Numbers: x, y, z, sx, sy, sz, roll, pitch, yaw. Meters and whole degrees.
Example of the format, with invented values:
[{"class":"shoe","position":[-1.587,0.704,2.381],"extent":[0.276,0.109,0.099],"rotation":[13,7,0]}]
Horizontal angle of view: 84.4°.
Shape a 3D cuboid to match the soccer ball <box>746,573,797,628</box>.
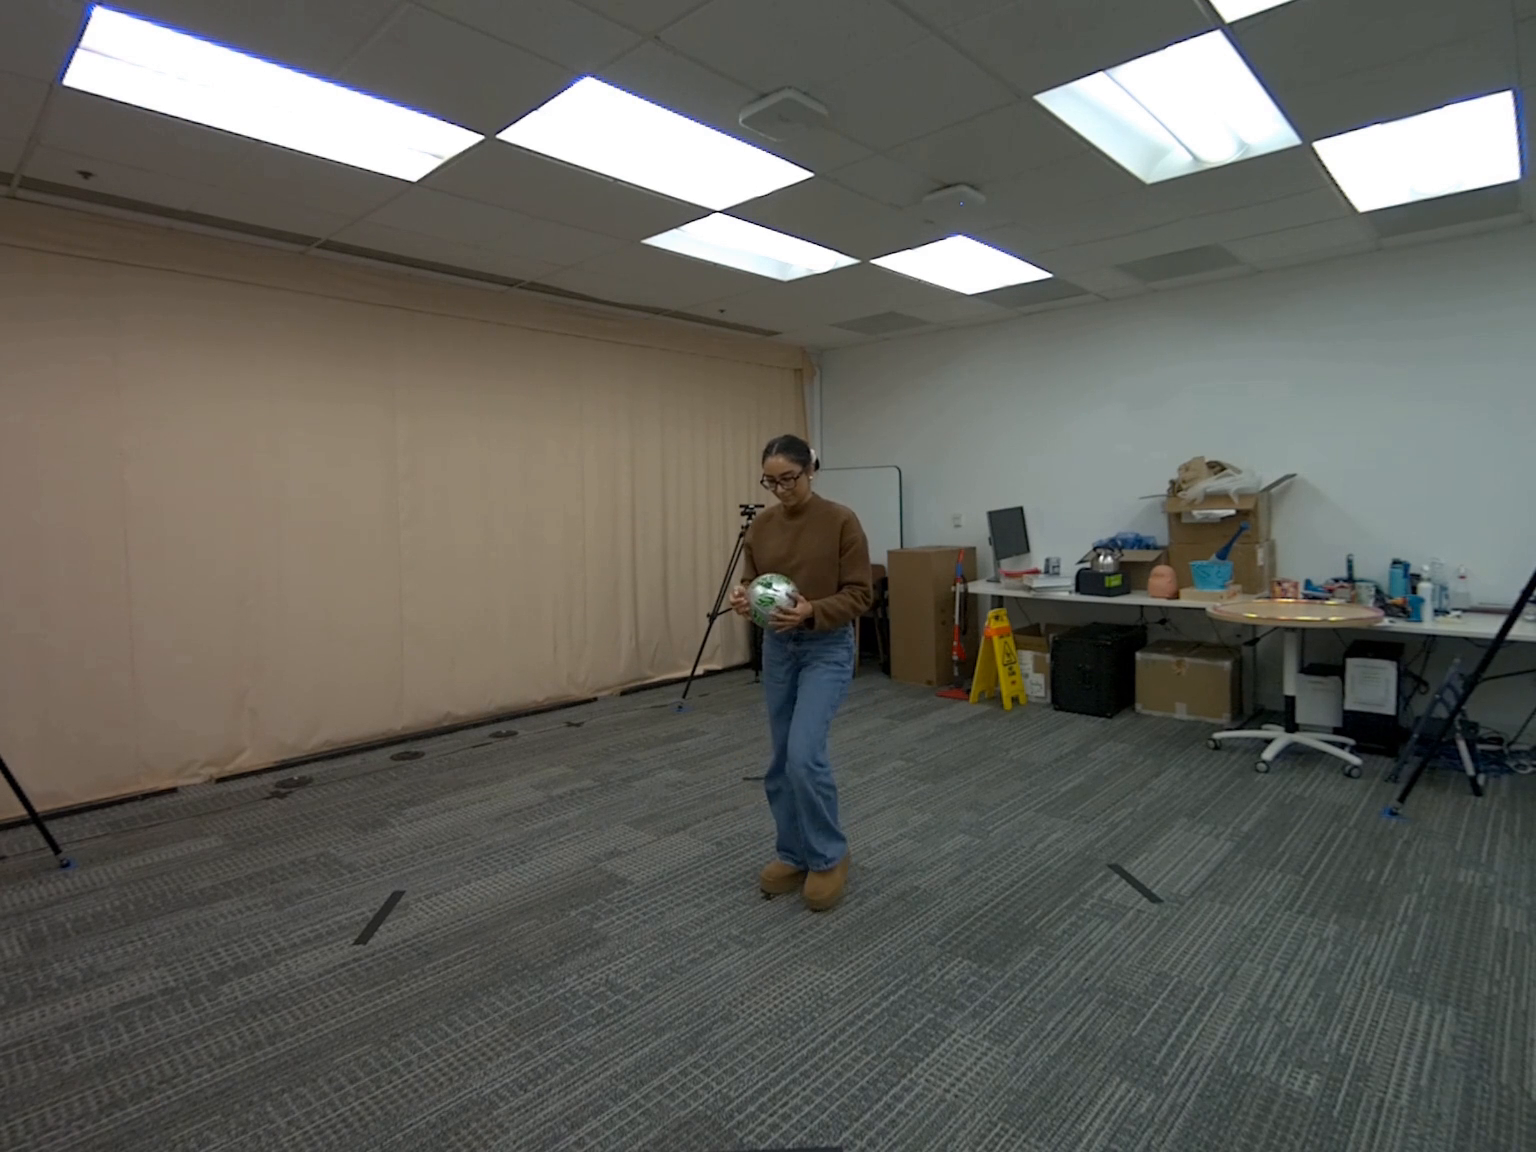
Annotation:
[{"class":"soccer ball","position":[0.018,0.086,2.826],"extent":[0.187,0.187,0.188],"rotation":[-1,4,-2]}]
